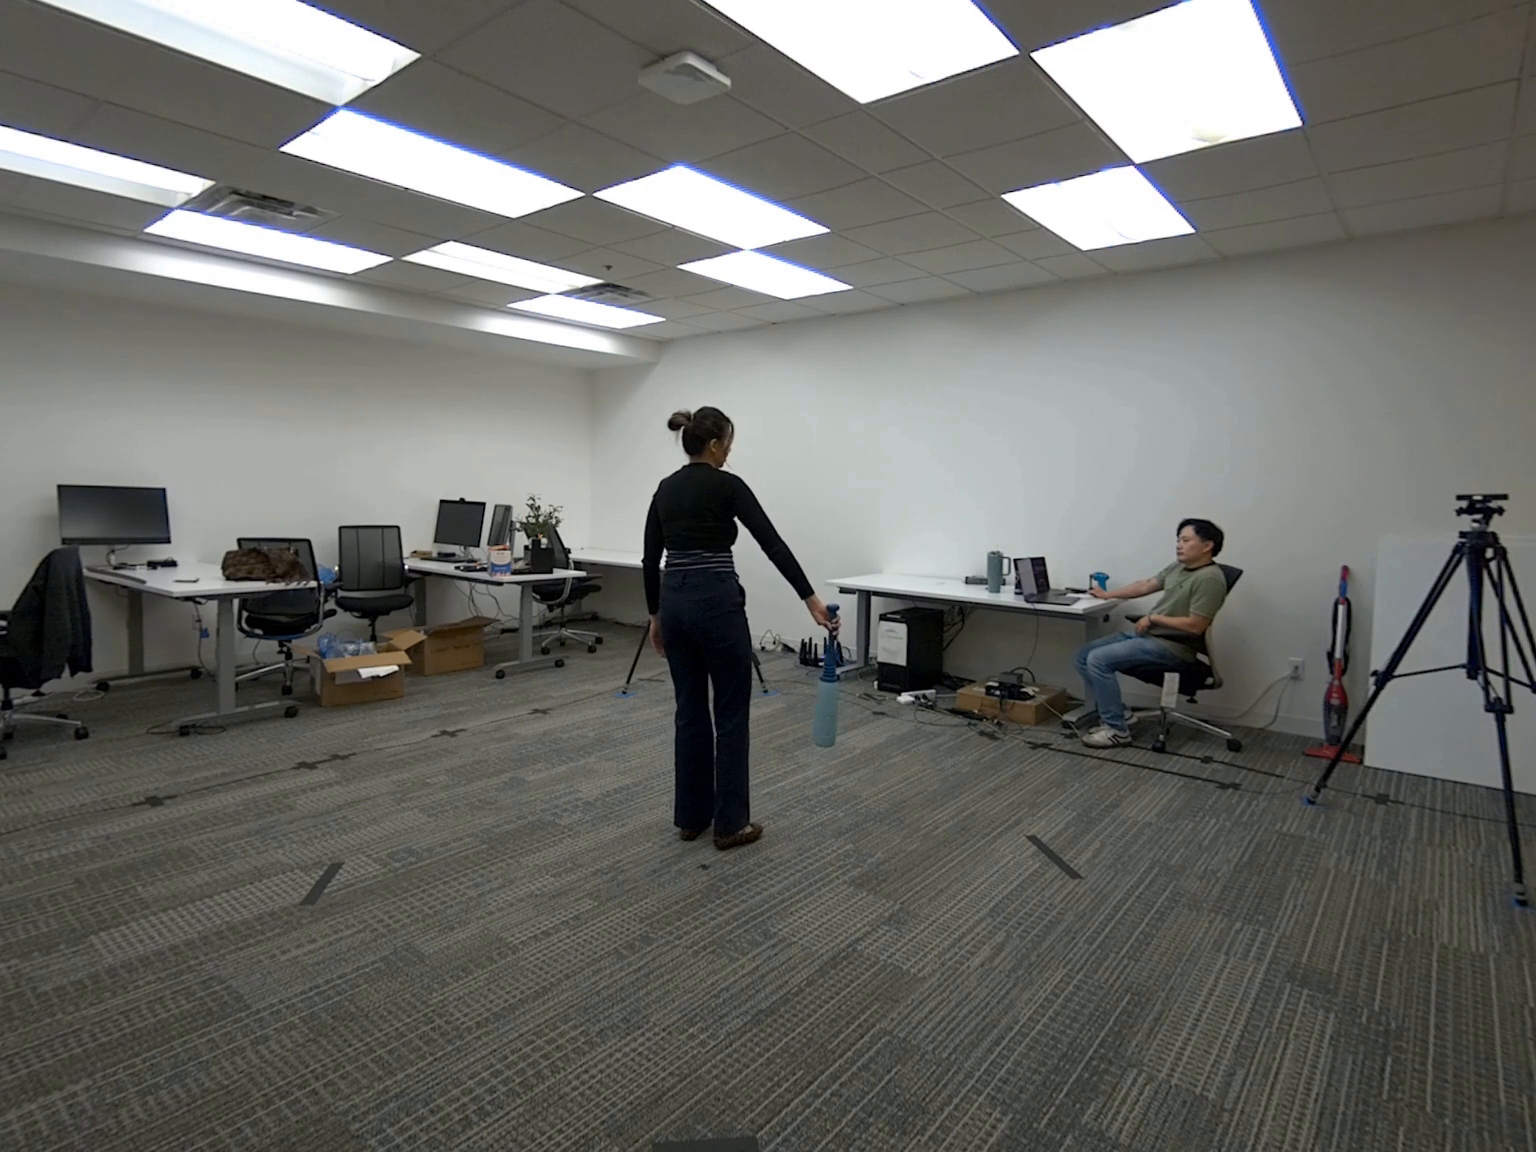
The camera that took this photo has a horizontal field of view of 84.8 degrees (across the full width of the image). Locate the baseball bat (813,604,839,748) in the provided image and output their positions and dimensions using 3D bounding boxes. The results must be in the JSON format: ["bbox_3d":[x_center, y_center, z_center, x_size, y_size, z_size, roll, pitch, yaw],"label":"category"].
[{"bbox_3d":[0.212,0.378,3.214,0.089,0.540,0.089,3,5,-2],"label":"baseball bat"}]
